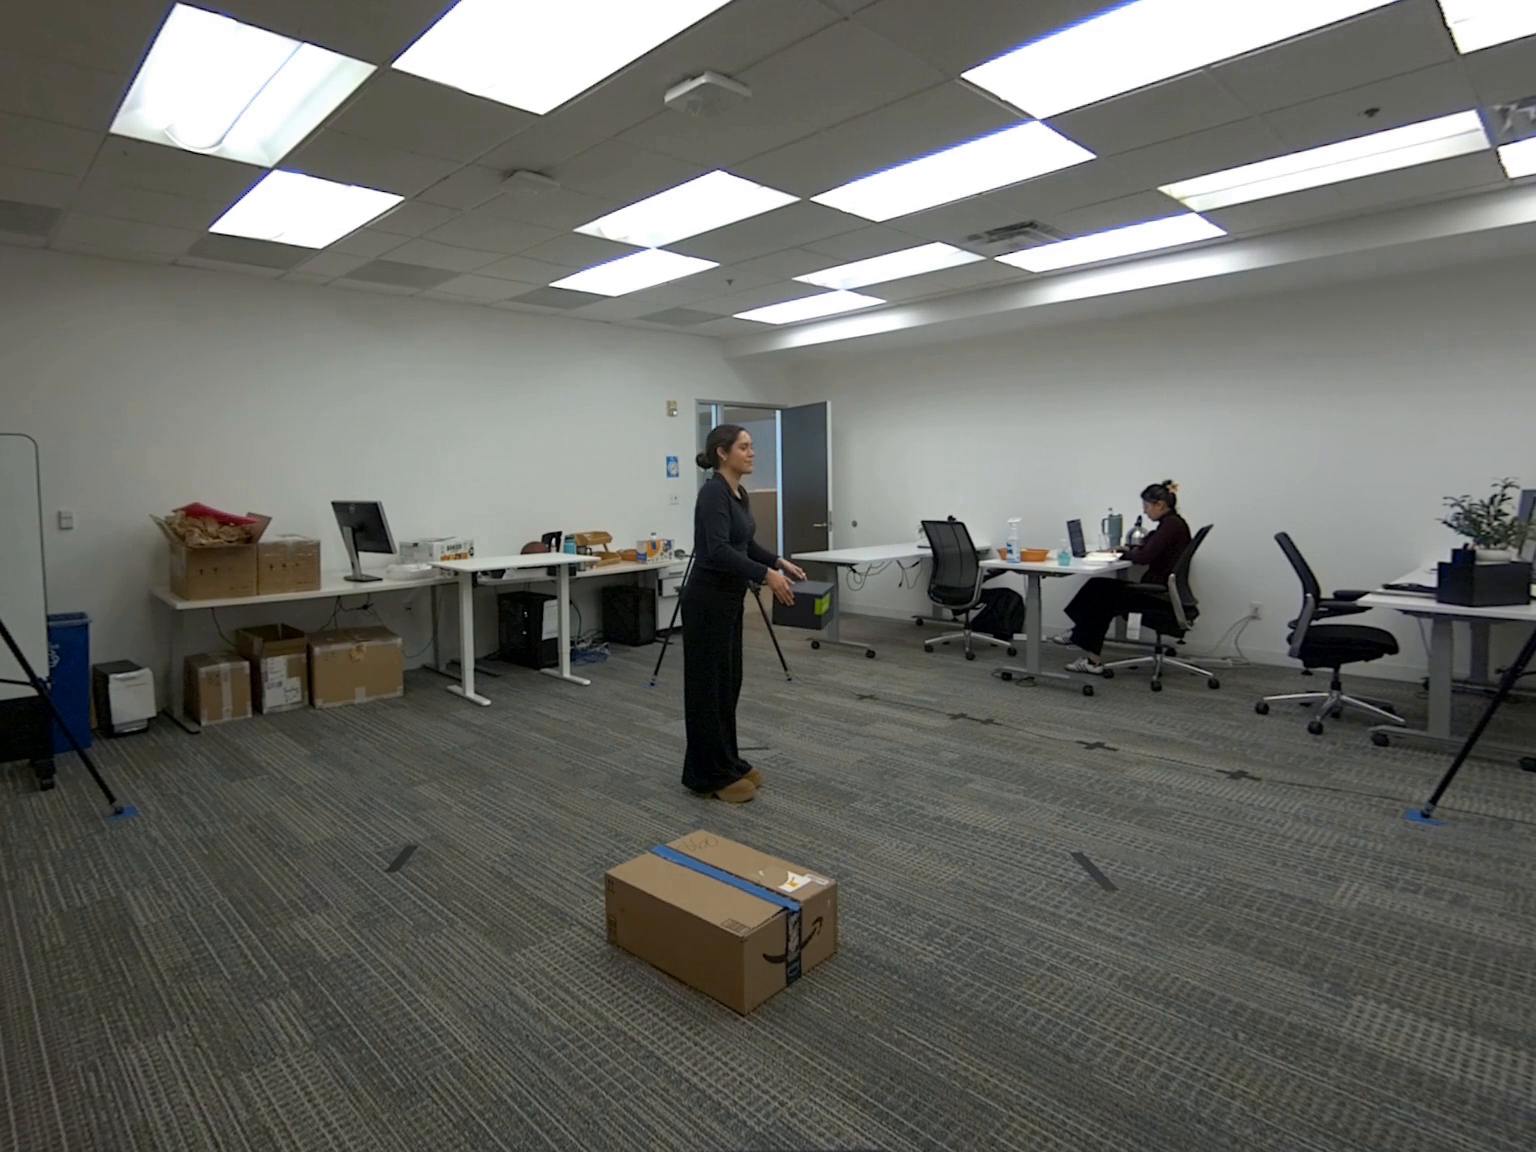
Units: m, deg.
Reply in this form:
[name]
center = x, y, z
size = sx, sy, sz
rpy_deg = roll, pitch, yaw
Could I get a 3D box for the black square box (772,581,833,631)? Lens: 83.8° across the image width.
[black square box]
center = 0.150, 0.126, 3.645
size = 0.221, 0.154, 0.226
rpy_deg = 5, 12, 18
